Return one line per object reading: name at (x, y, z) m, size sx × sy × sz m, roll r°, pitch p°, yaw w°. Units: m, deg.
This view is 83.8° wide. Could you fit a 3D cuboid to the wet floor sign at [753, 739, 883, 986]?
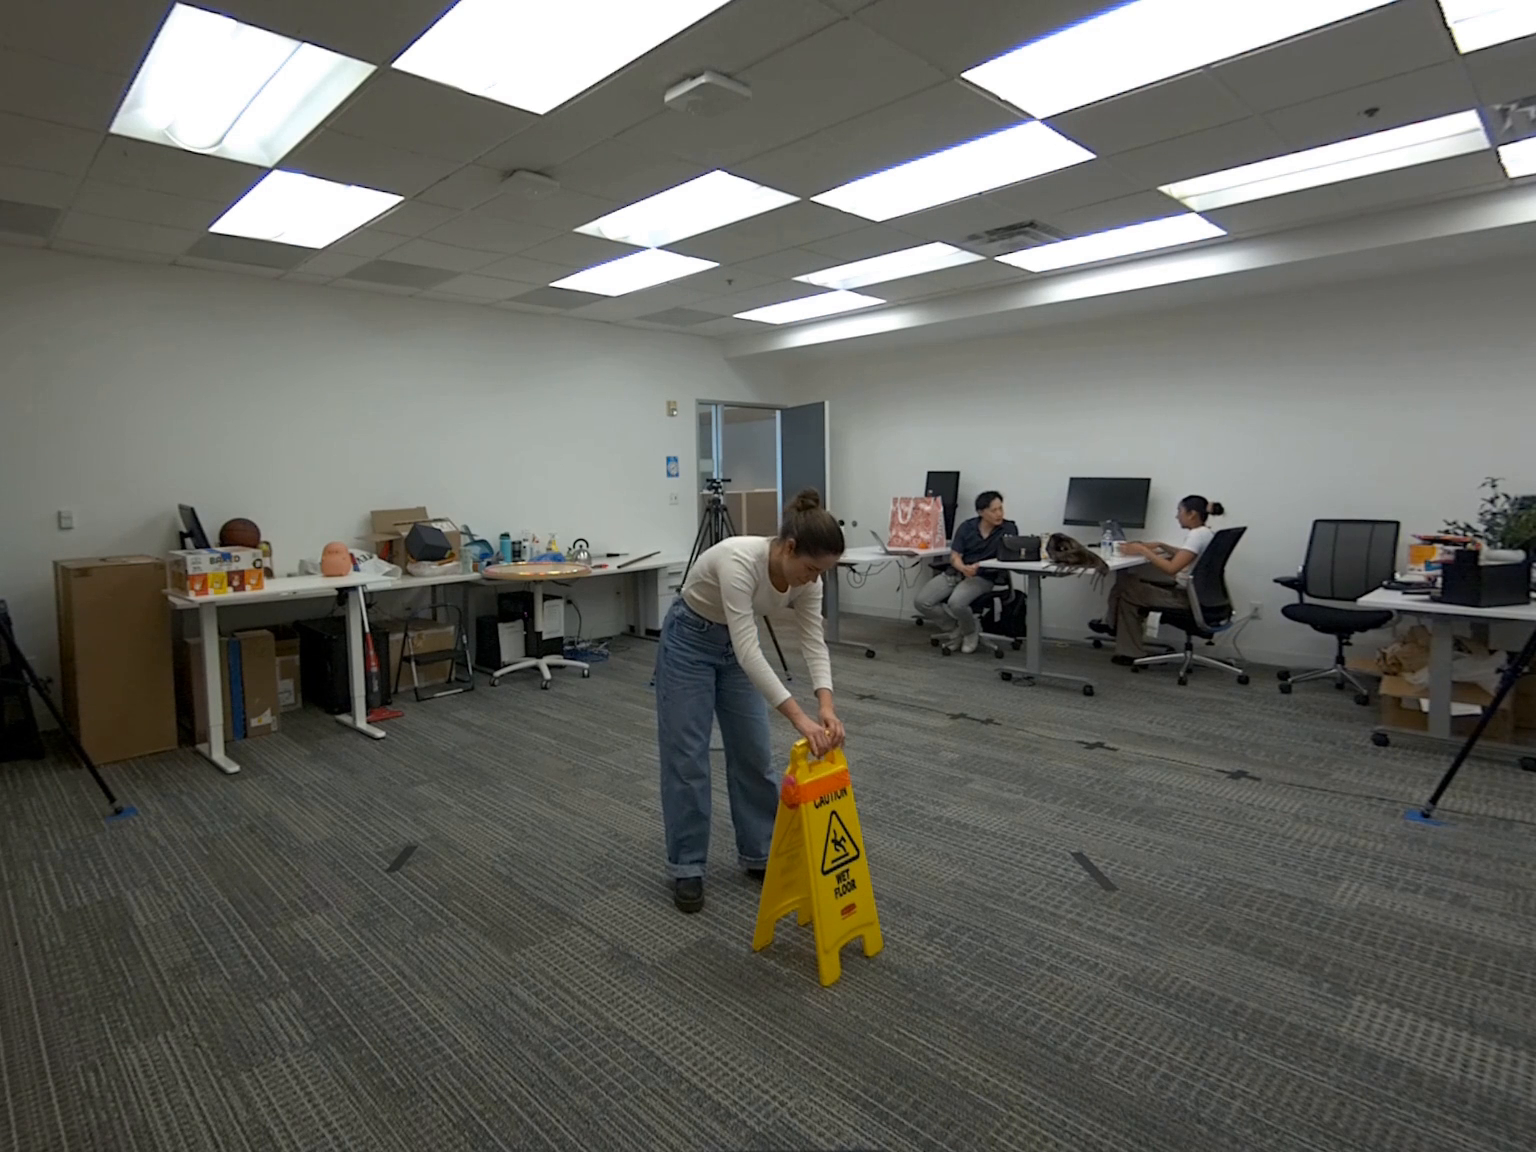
wet floor sign at (0.142, 0.786, 2.515) m, size 0.298 × 0.644 × 0.274 m, roll 3°, pitch 5°, yaw 44°
